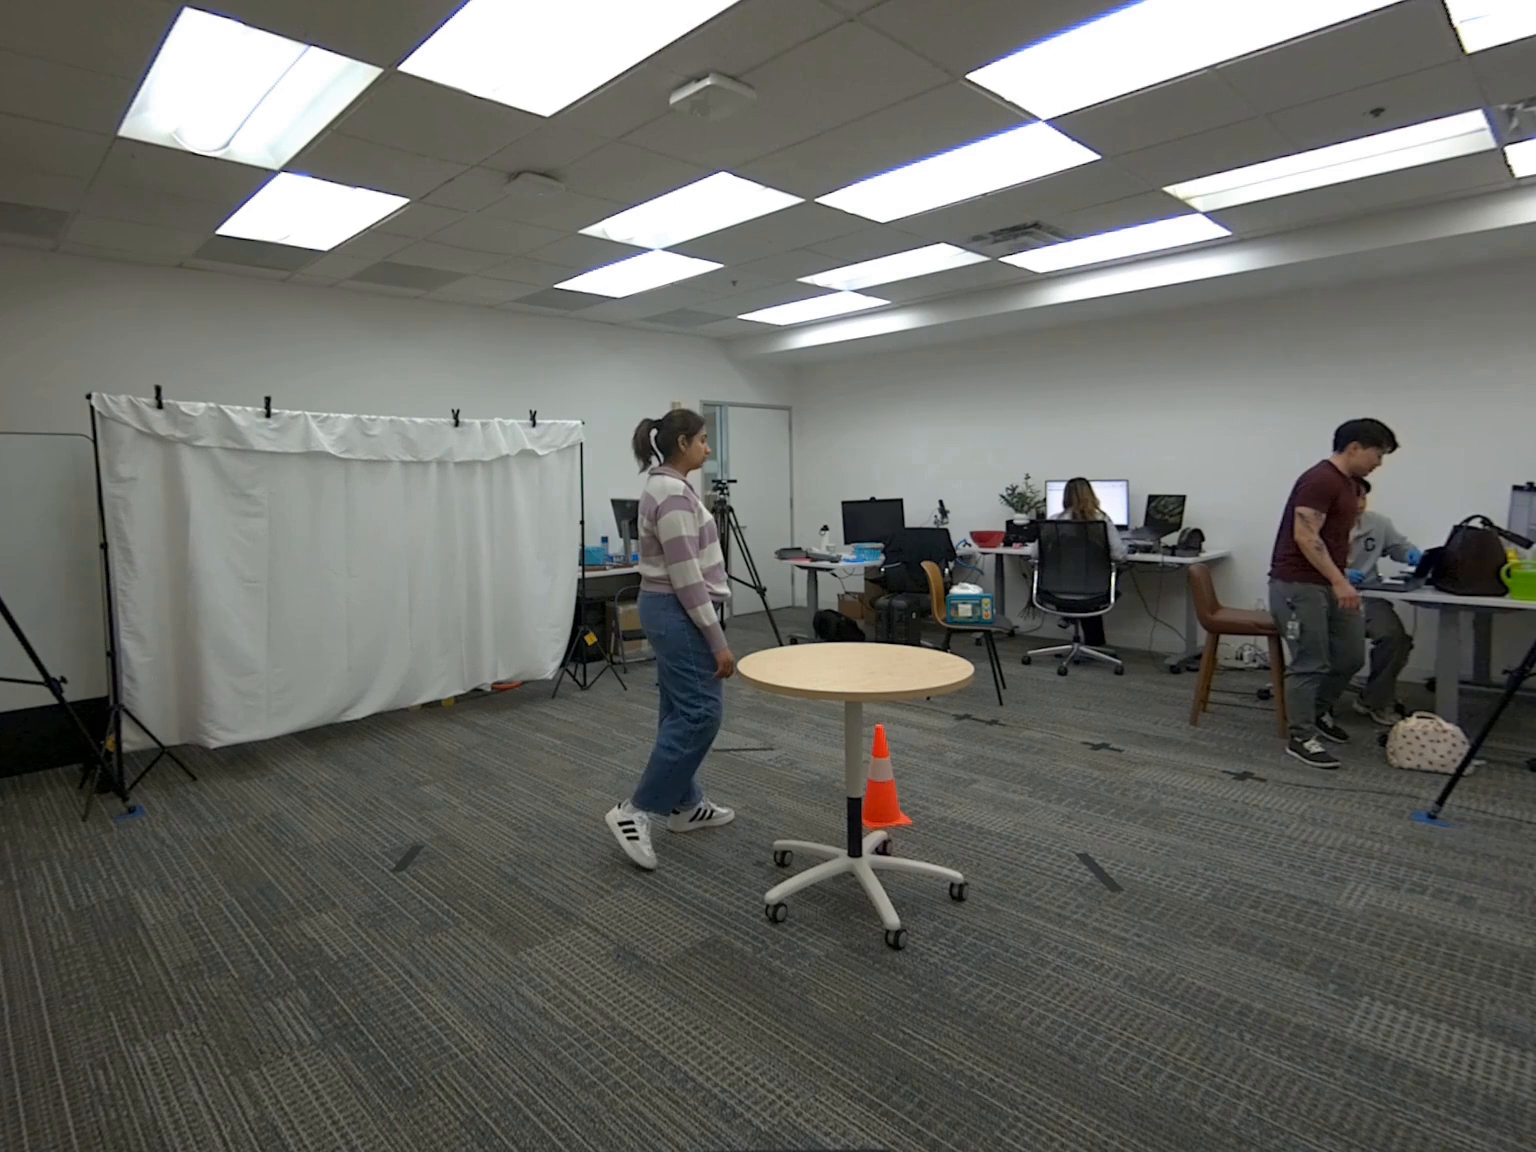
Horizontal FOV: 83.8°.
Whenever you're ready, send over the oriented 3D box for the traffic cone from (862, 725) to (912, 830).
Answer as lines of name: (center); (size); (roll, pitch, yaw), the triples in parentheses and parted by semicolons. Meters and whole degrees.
traffic cone: (0.463, 0.804, 3.507); (0.202, 0.381, 0.208); (-2, 7, -18)
